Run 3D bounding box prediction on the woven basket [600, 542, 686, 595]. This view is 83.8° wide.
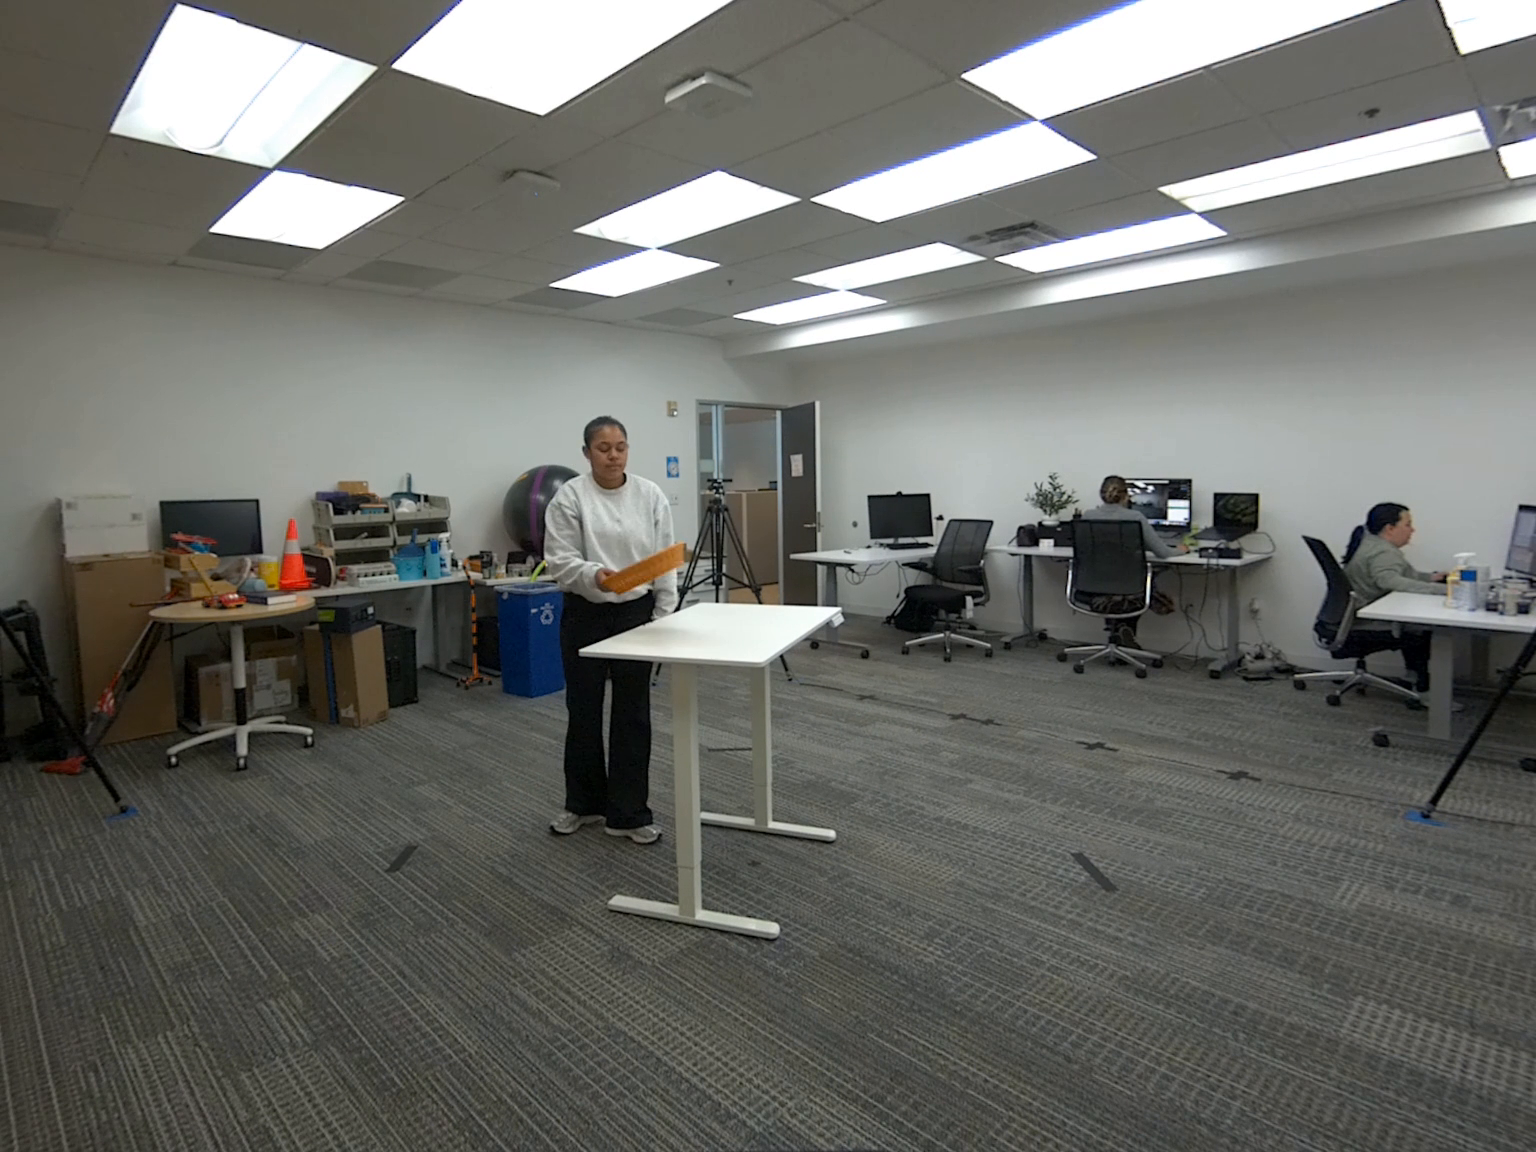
[{"bbox_3d":[-0.425,0.006,2.824,0.356,0.073,0.249,-22,6,46],"label":"woven basket"}]
